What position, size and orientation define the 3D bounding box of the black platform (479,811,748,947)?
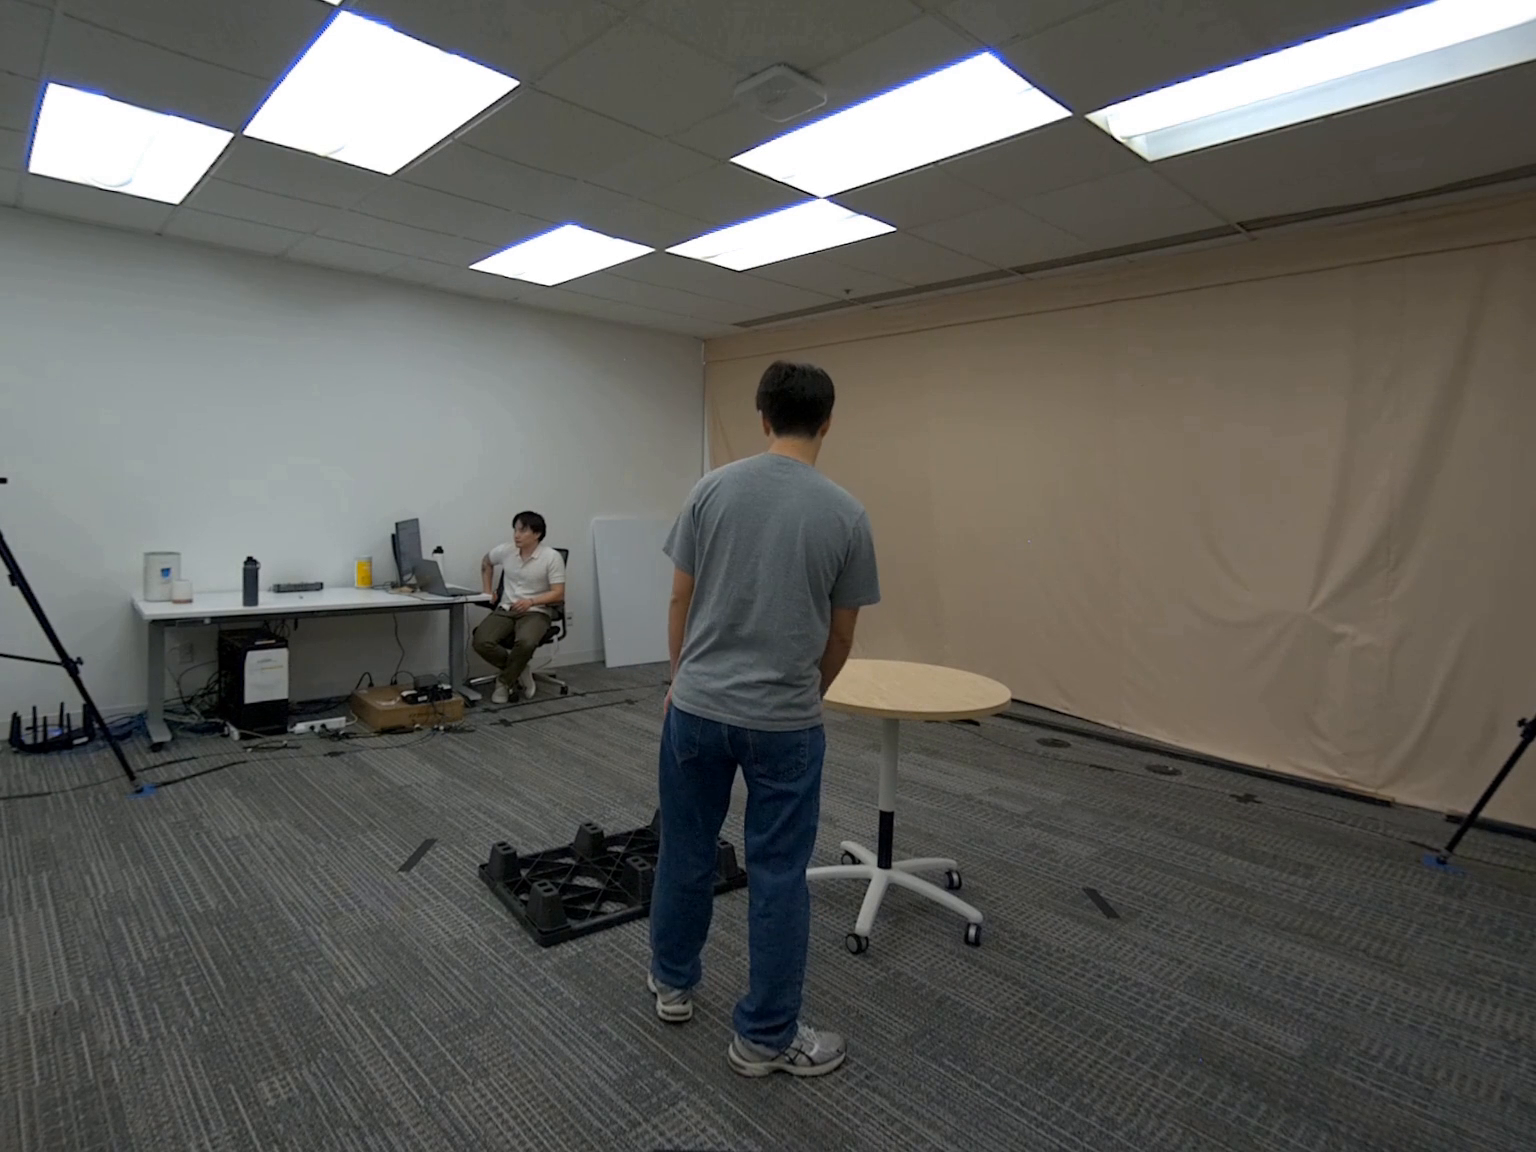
[{"bbox_3d":[-0.562,1.038,3.033,0.788,0.143,0.620,-3,6,-37],"label":"black platform"}]
